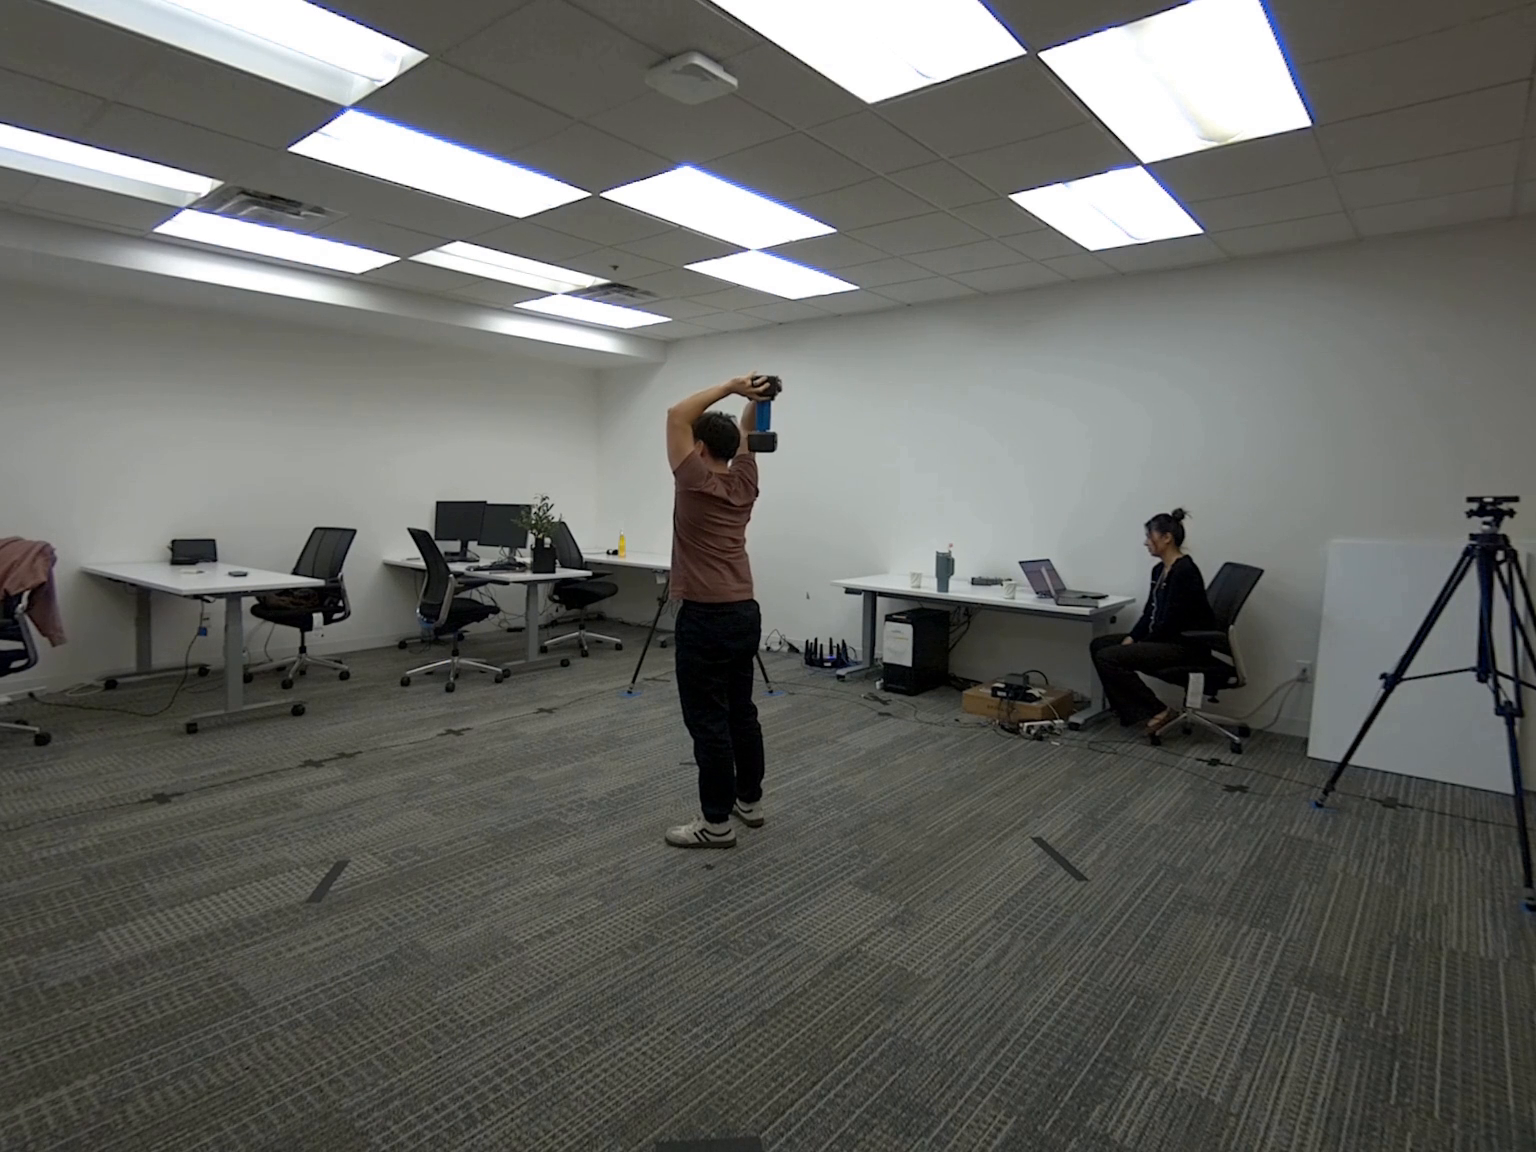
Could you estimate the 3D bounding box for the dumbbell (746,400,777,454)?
[{"bbox_3d":[-0.031,-0.629,3.278,0.106,0.292,0.127,-9,8,-44],"label":"dumbbell"}]
